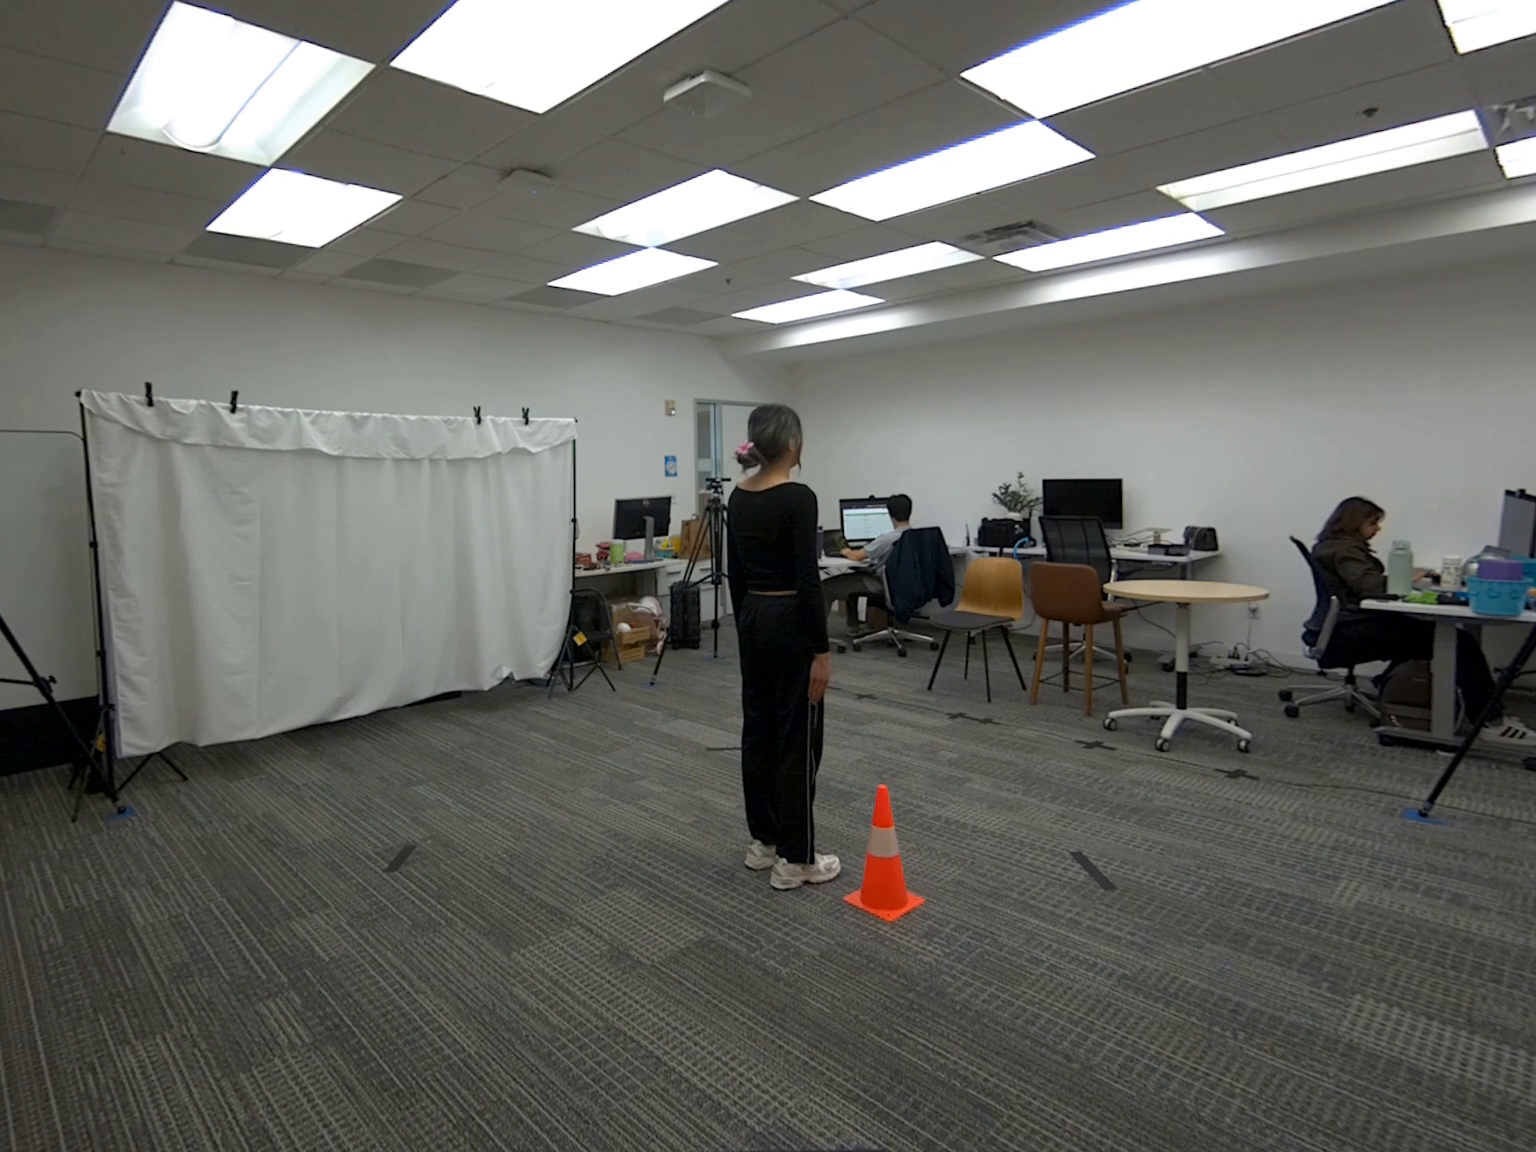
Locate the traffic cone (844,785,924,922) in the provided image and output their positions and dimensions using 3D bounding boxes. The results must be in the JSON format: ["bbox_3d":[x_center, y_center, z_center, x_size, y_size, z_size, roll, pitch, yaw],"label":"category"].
[{"bbox_3d":[0.386,0.882,2.805,0.200,0.382,0.209,-4,6,-31],"label":"traffic cone"}]
